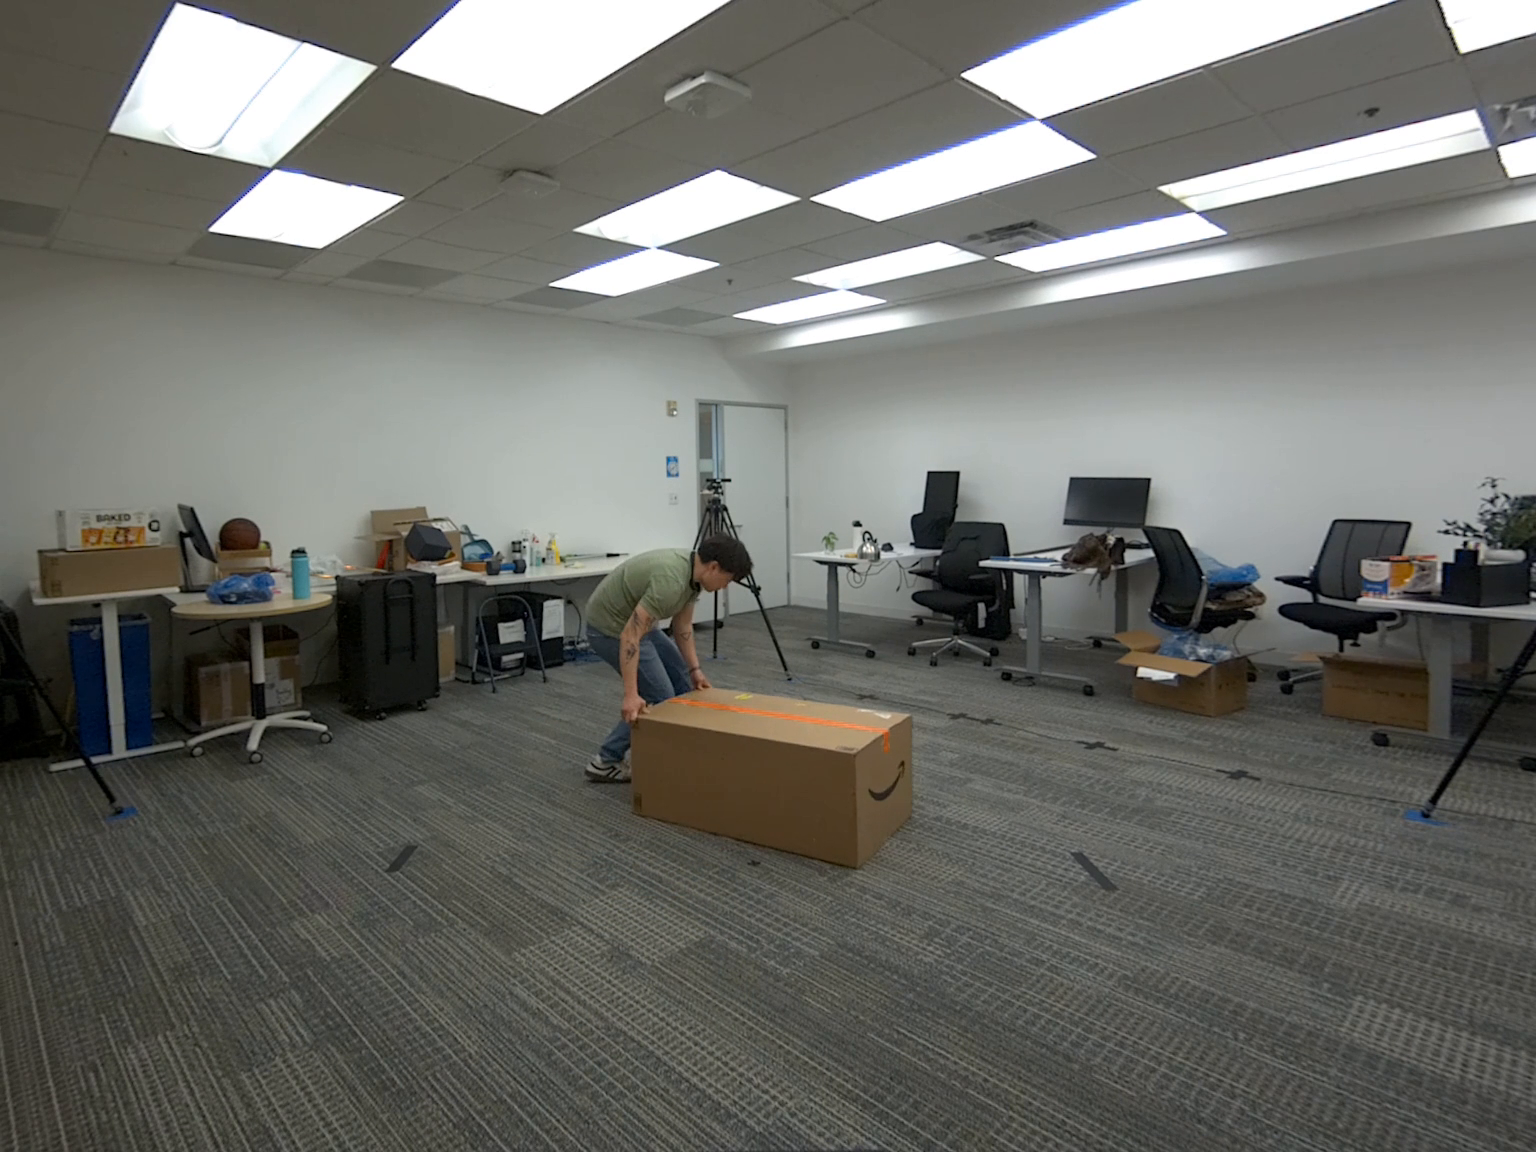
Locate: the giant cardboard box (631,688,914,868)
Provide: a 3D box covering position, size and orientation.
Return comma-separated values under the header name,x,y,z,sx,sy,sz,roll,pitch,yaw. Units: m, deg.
name,x,y,z,sx,sy,sz,roll,pitch,yaw
giant cardboard box,0.019,0.783,3.533,1.054,0.425,0.564,2,5,32
